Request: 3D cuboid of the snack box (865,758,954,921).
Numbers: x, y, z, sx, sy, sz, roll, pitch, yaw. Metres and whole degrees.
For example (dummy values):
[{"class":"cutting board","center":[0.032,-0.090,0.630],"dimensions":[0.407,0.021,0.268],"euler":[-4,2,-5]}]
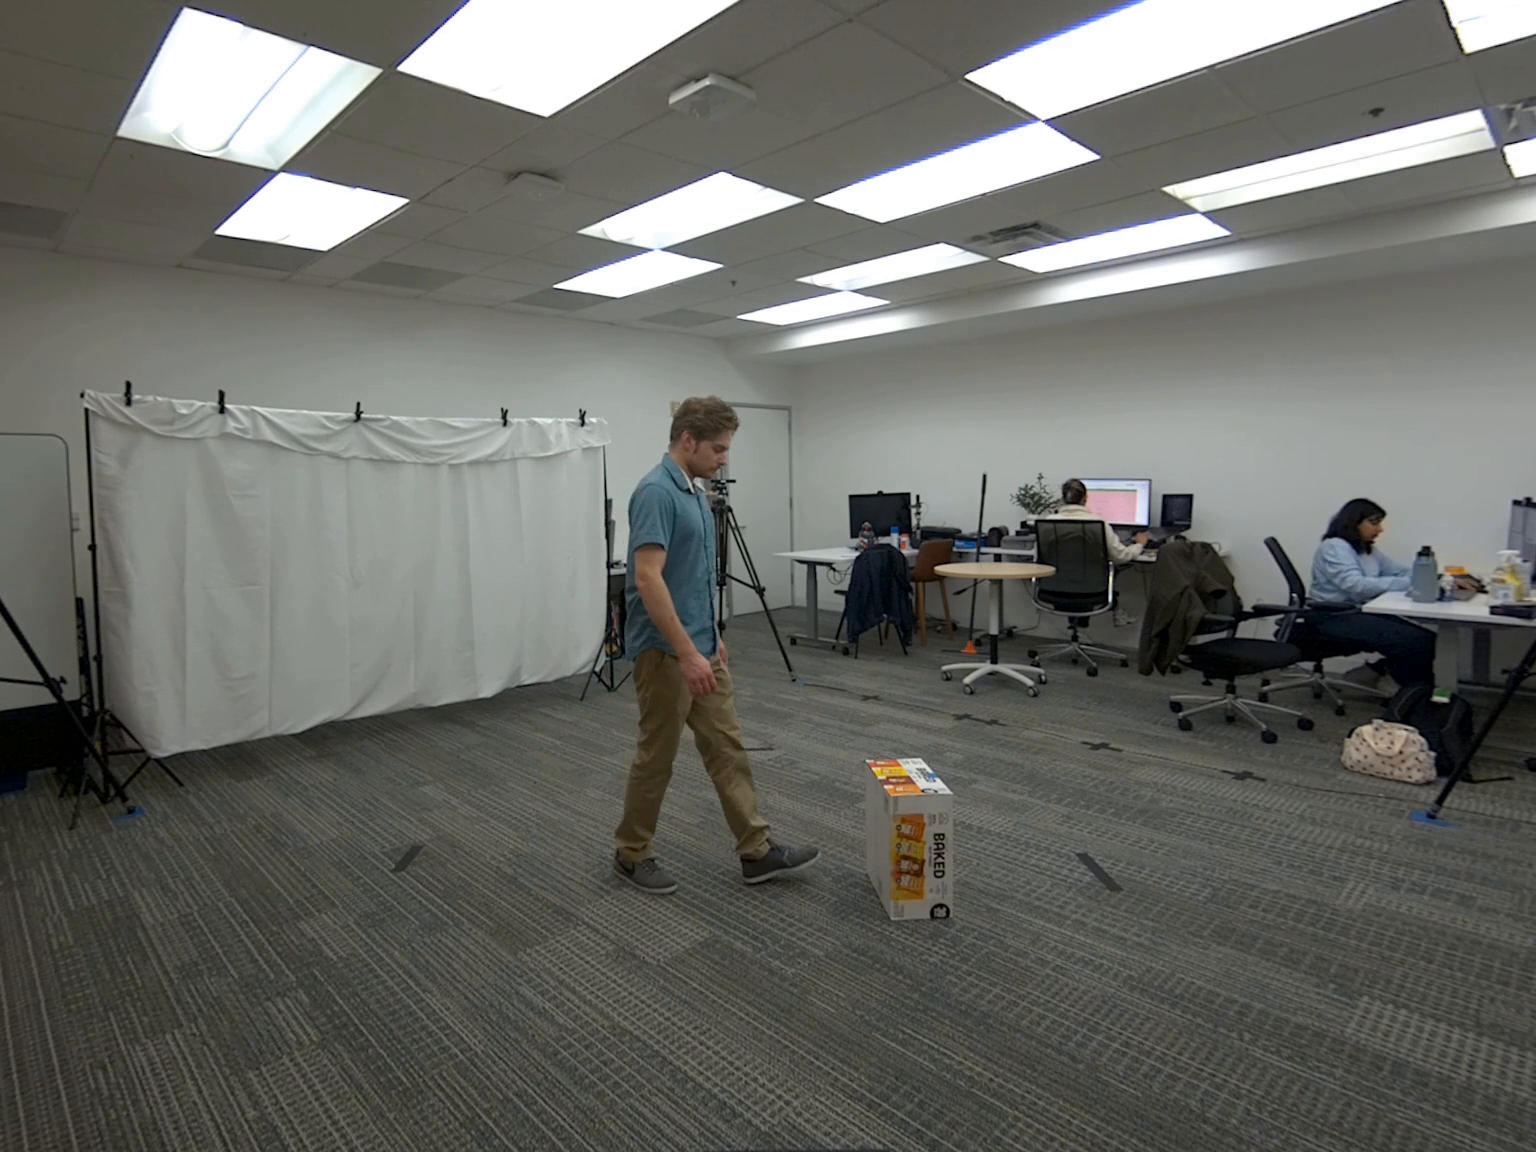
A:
[{"class":"snack box","center":[0.456,0.863,2.848],"dimensions":[0.205,0.403,0.343],"euler":[-1,5,-5]}]
